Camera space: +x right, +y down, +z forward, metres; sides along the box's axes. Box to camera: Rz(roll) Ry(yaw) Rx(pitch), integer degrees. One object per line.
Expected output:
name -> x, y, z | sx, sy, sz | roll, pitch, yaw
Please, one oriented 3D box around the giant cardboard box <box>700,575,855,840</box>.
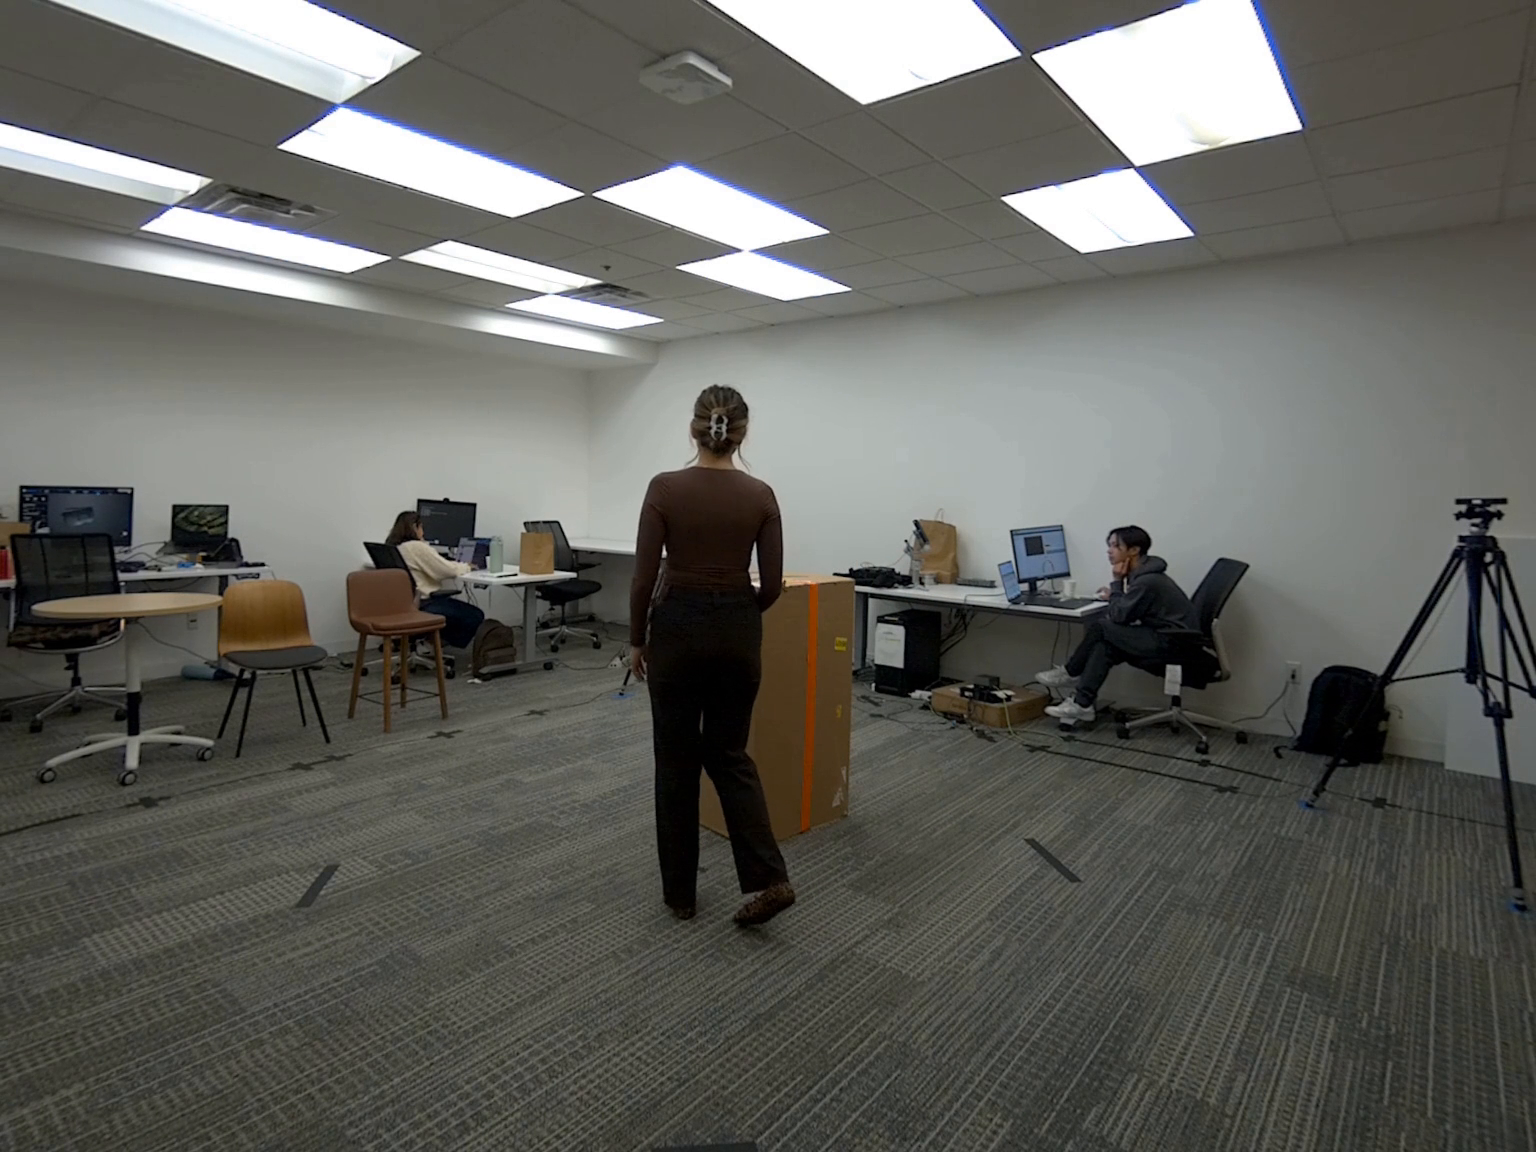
giant cardboard box -> 0.005, 0.516, 3.606 | 0.566, 1.024, 0.462 | -2, 5, -42
